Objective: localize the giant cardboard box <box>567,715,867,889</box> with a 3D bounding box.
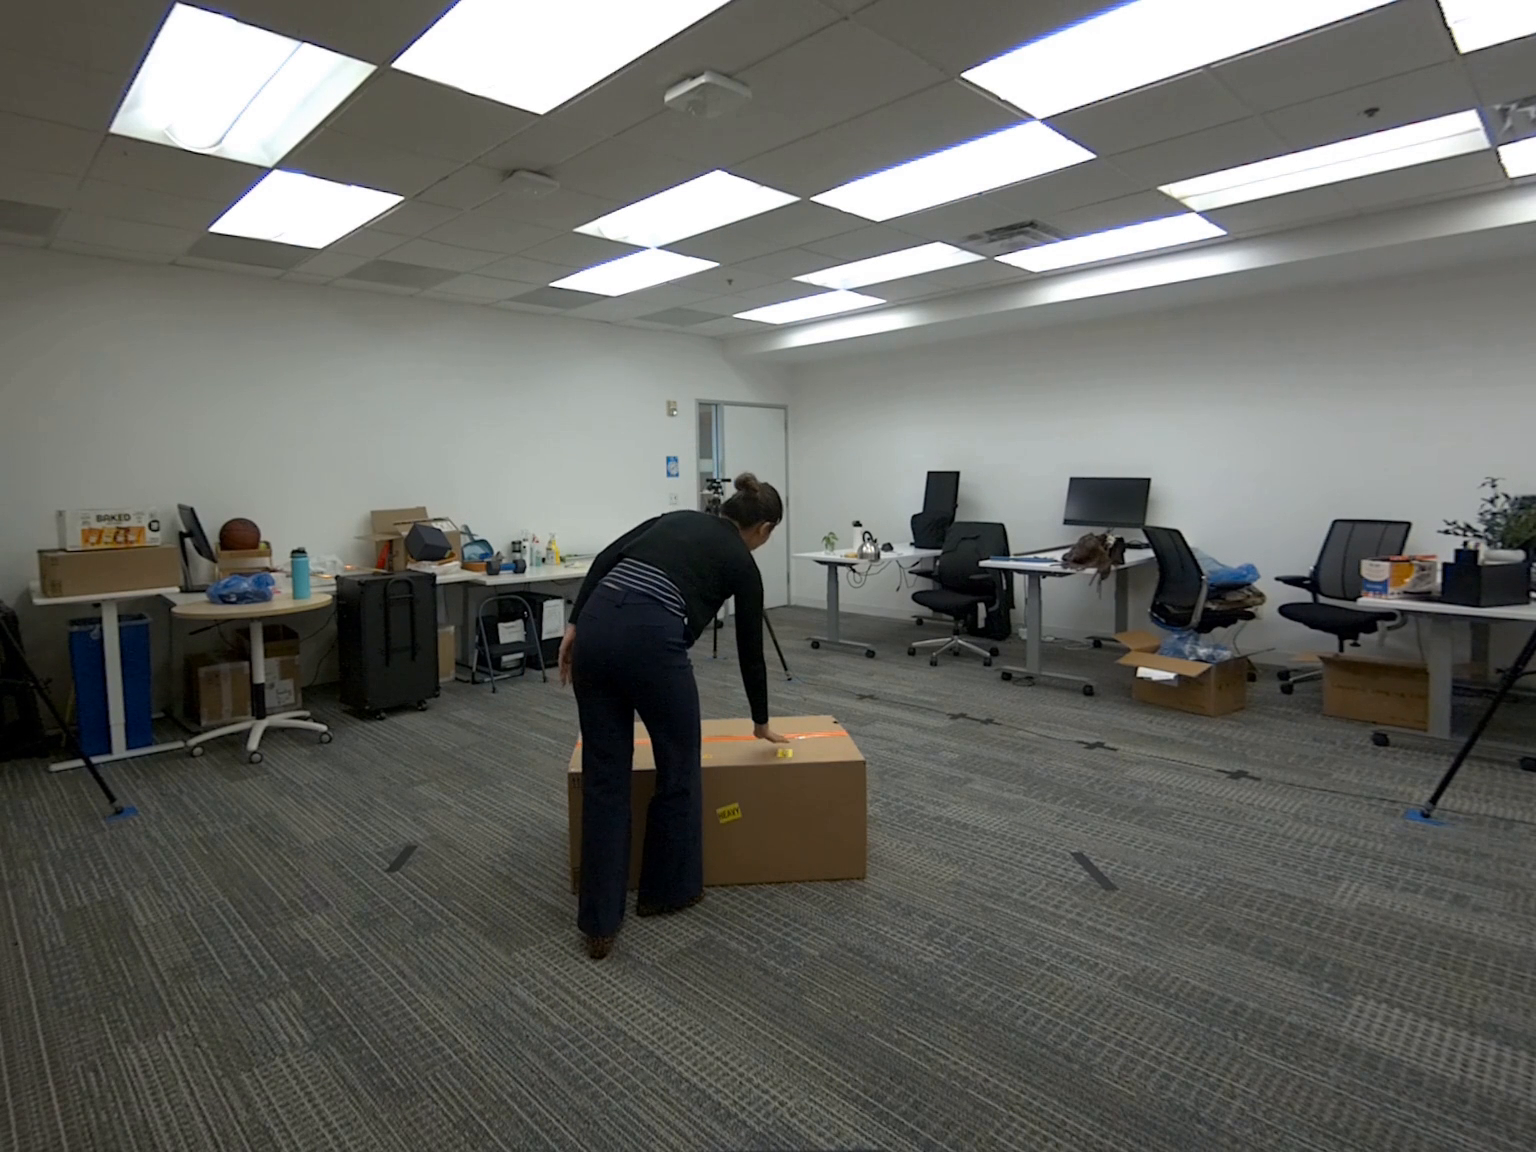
[{"bbox_3d":[-0.201,0.816,3.205,1.021,0.424,0.583,-1,6,-5],"label":"giant cardboard box"}]
